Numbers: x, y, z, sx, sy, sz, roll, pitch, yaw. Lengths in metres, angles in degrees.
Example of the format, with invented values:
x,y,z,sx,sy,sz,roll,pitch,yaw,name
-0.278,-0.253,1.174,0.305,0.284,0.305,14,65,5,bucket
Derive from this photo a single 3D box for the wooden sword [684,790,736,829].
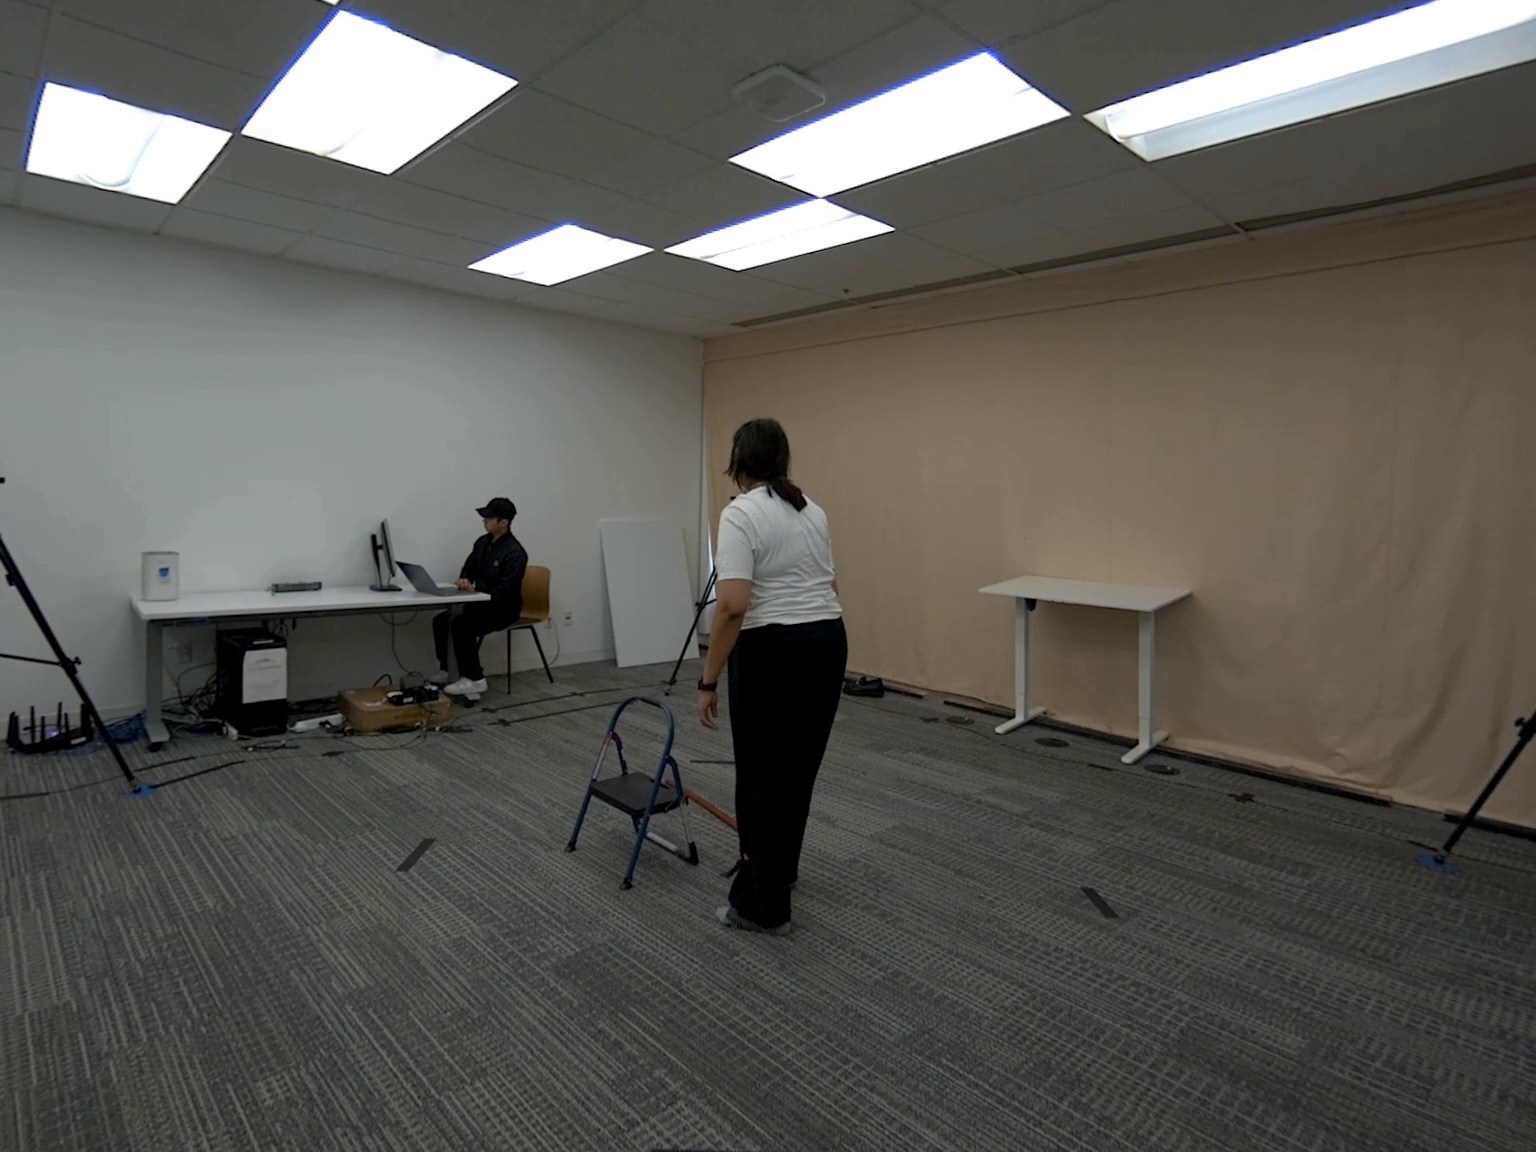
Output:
x,y,z,sx,sy,sz,roll,pitch,yaw,name
-0.223,1.032,3.657,0.024,0.050,1.048,-46,25,-20,wooden sword
